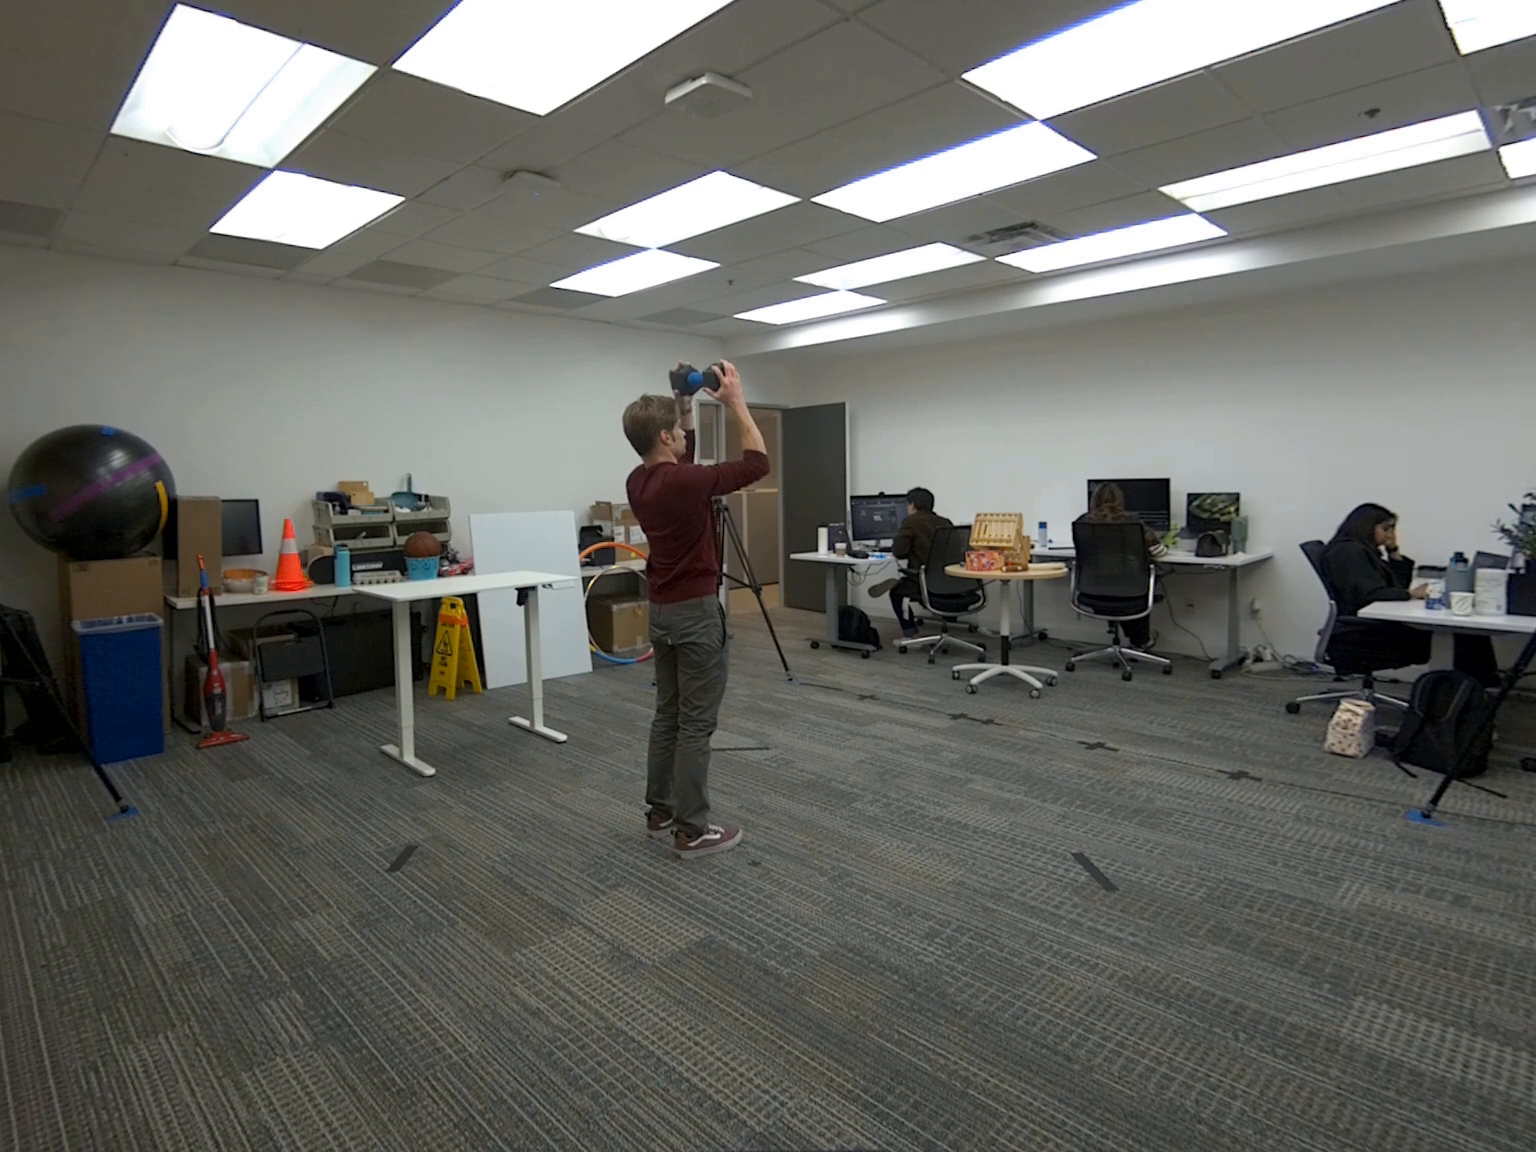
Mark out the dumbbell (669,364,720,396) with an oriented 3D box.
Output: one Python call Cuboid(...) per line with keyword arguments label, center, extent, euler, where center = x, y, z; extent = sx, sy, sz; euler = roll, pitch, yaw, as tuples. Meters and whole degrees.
Cuboid(label="dumbbell", center=(-0.248, -0.752, 3.258), extent=(0.106, 0.121, 0.304), euler=(-13, 17, -35))
